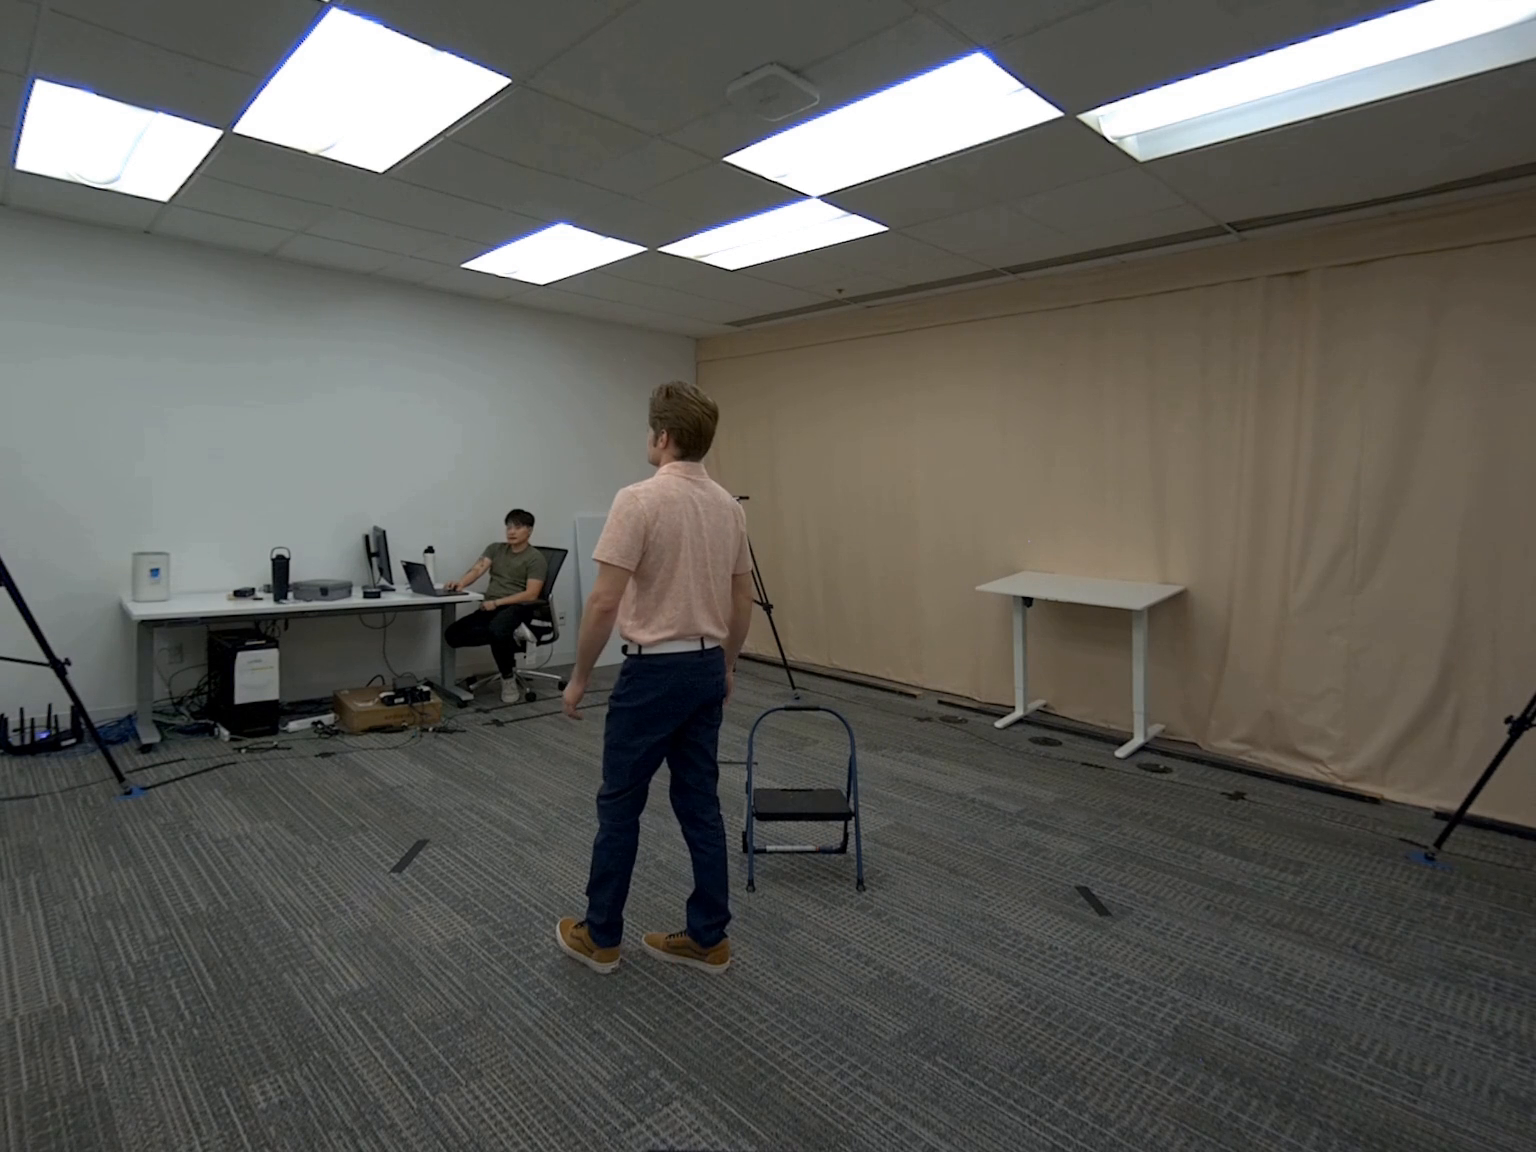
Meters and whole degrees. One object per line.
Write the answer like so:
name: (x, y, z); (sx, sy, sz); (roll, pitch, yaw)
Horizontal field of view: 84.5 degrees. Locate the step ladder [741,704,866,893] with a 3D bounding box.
step ladder: (0.124, 0.806, 3.146); (0.429, 0.604, 0.352); (2, 3, -6)
